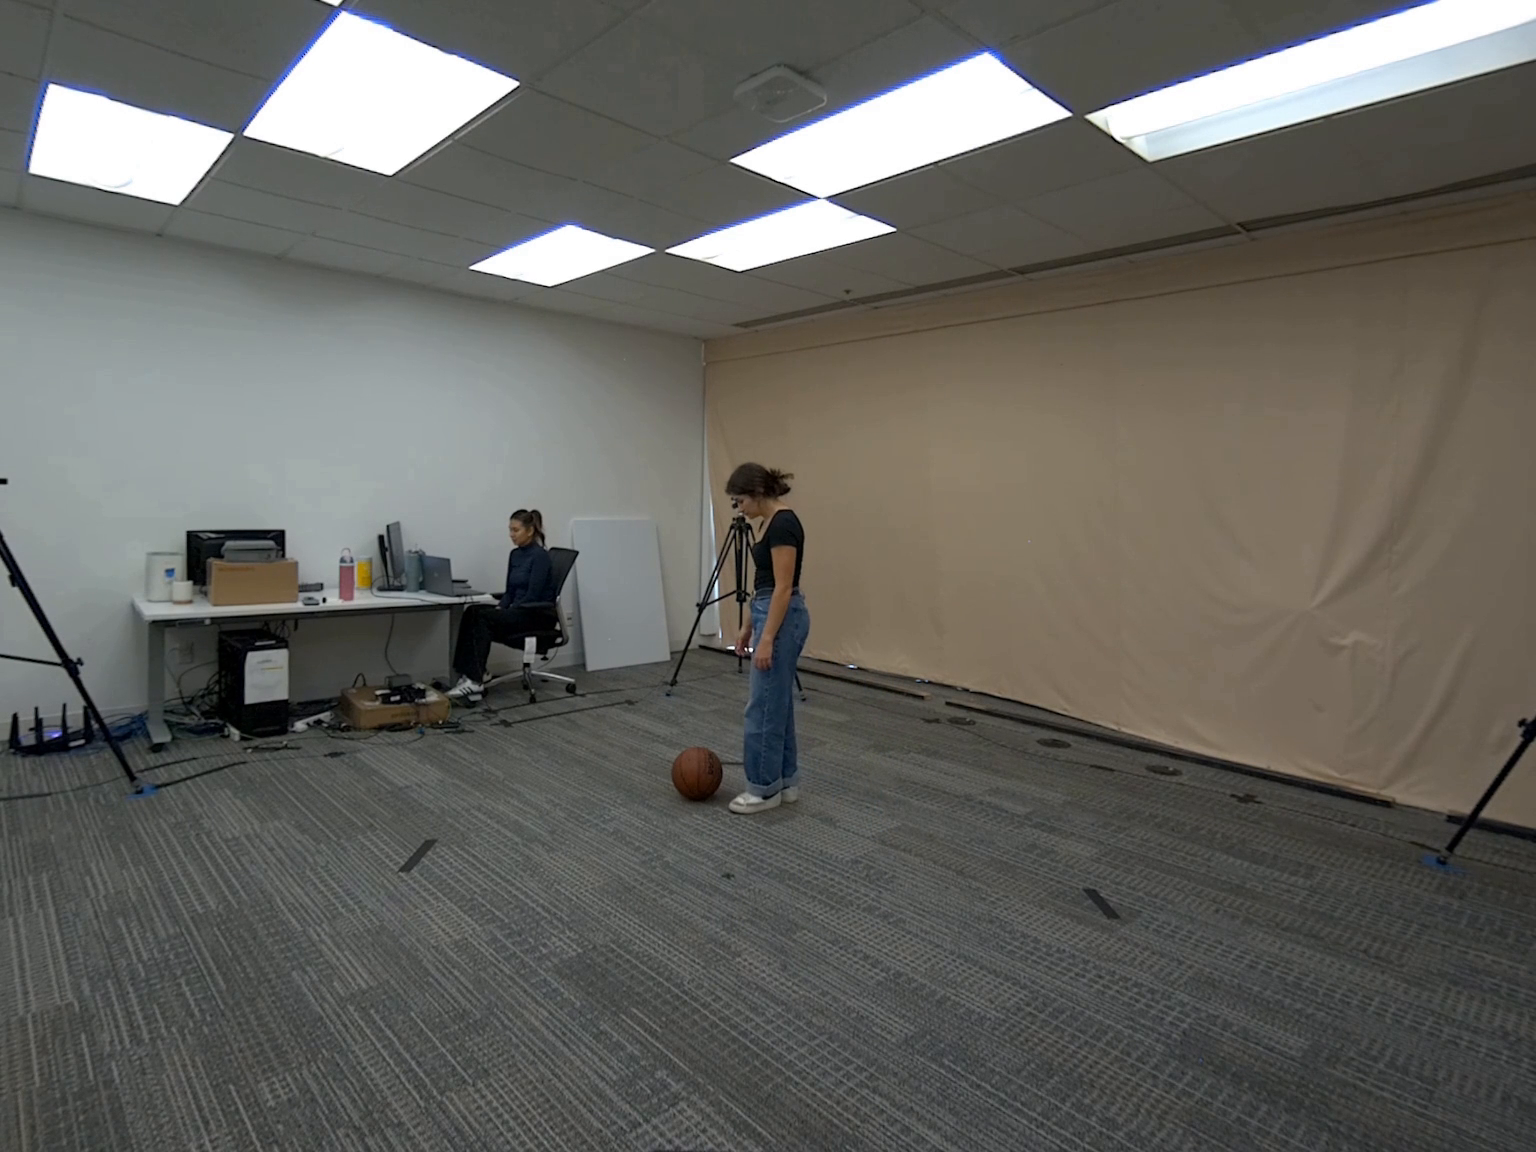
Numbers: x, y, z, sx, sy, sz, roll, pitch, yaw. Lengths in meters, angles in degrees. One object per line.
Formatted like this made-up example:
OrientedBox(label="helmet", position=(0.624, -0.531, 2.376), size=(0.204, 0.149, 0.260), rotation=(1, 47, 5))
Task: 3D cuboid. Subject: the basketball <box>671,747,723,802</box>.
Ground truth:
OrientedBox(label="basketball", position=(-0.332, 0.905, 3.903), size=(0.236, 0.235, 0.237), rotation=(1, 4, -1))
